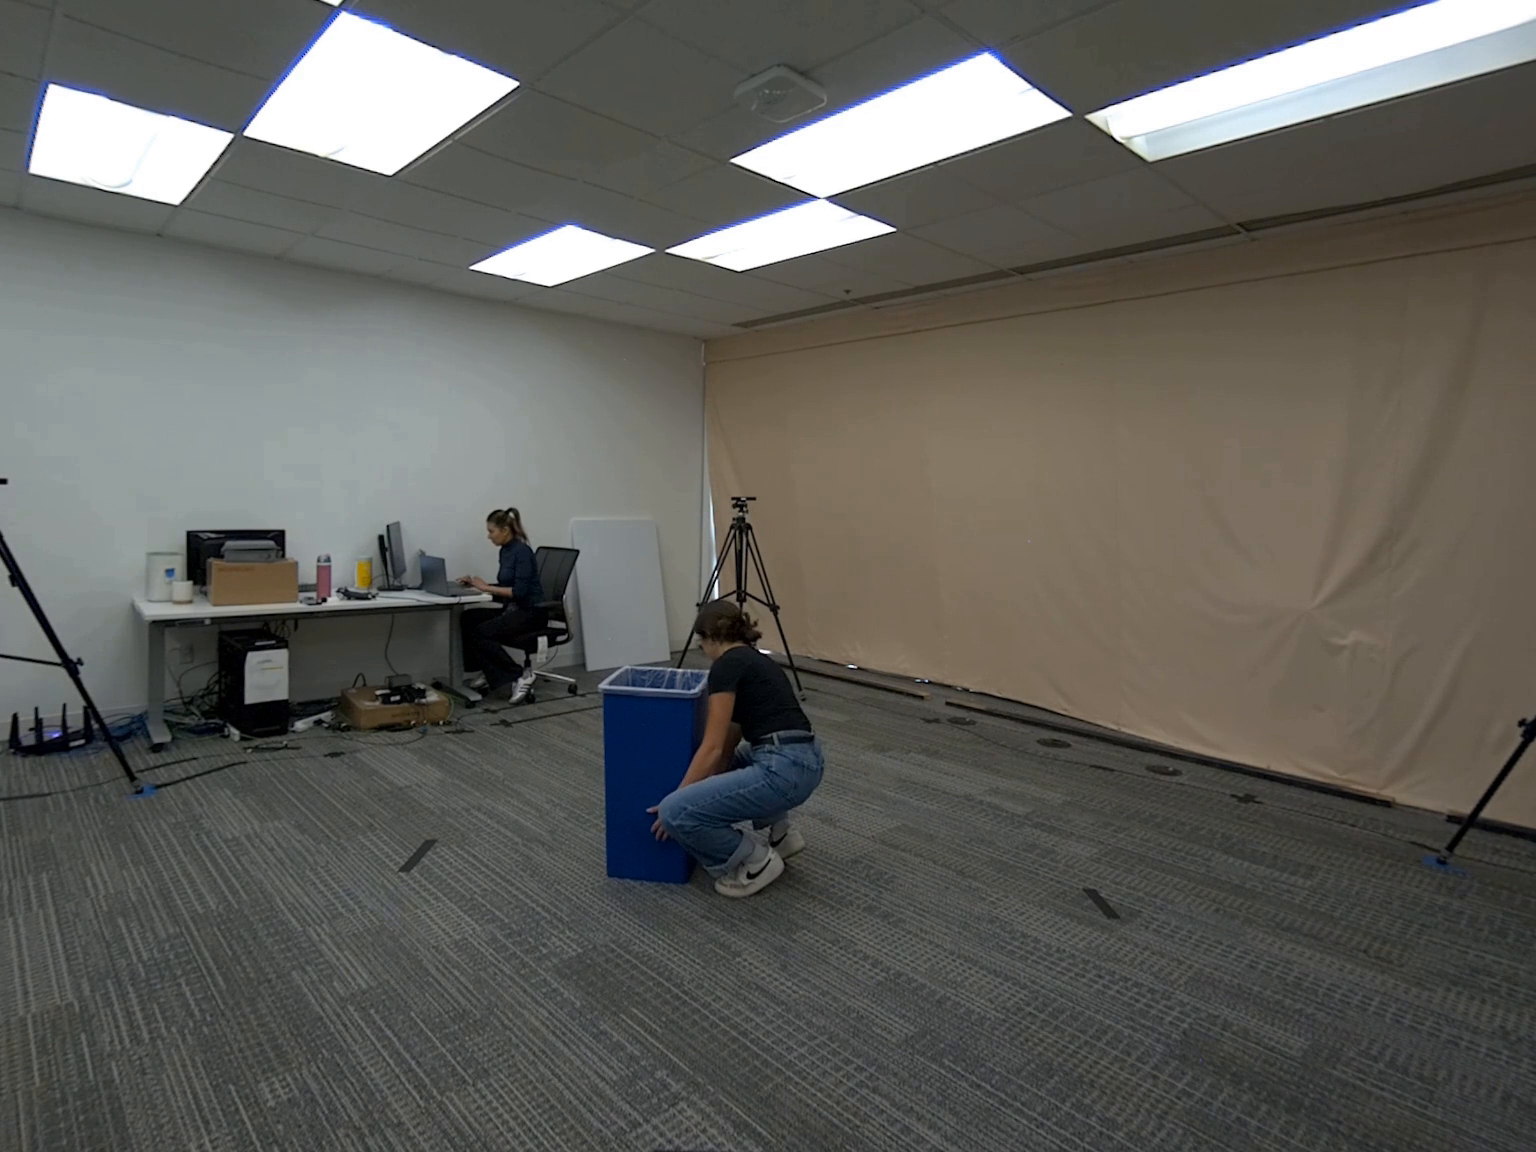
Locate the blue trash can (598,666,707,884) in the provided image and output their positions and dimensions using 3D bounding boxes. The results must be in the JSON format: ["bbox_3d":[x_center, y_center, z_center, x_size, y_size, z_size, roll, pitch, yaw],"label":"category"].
[{"bbox_3d":[-0.417,0.734,3.165,0.381,0.712,0.372,2,3,8],"label":"blue trash can"}]
